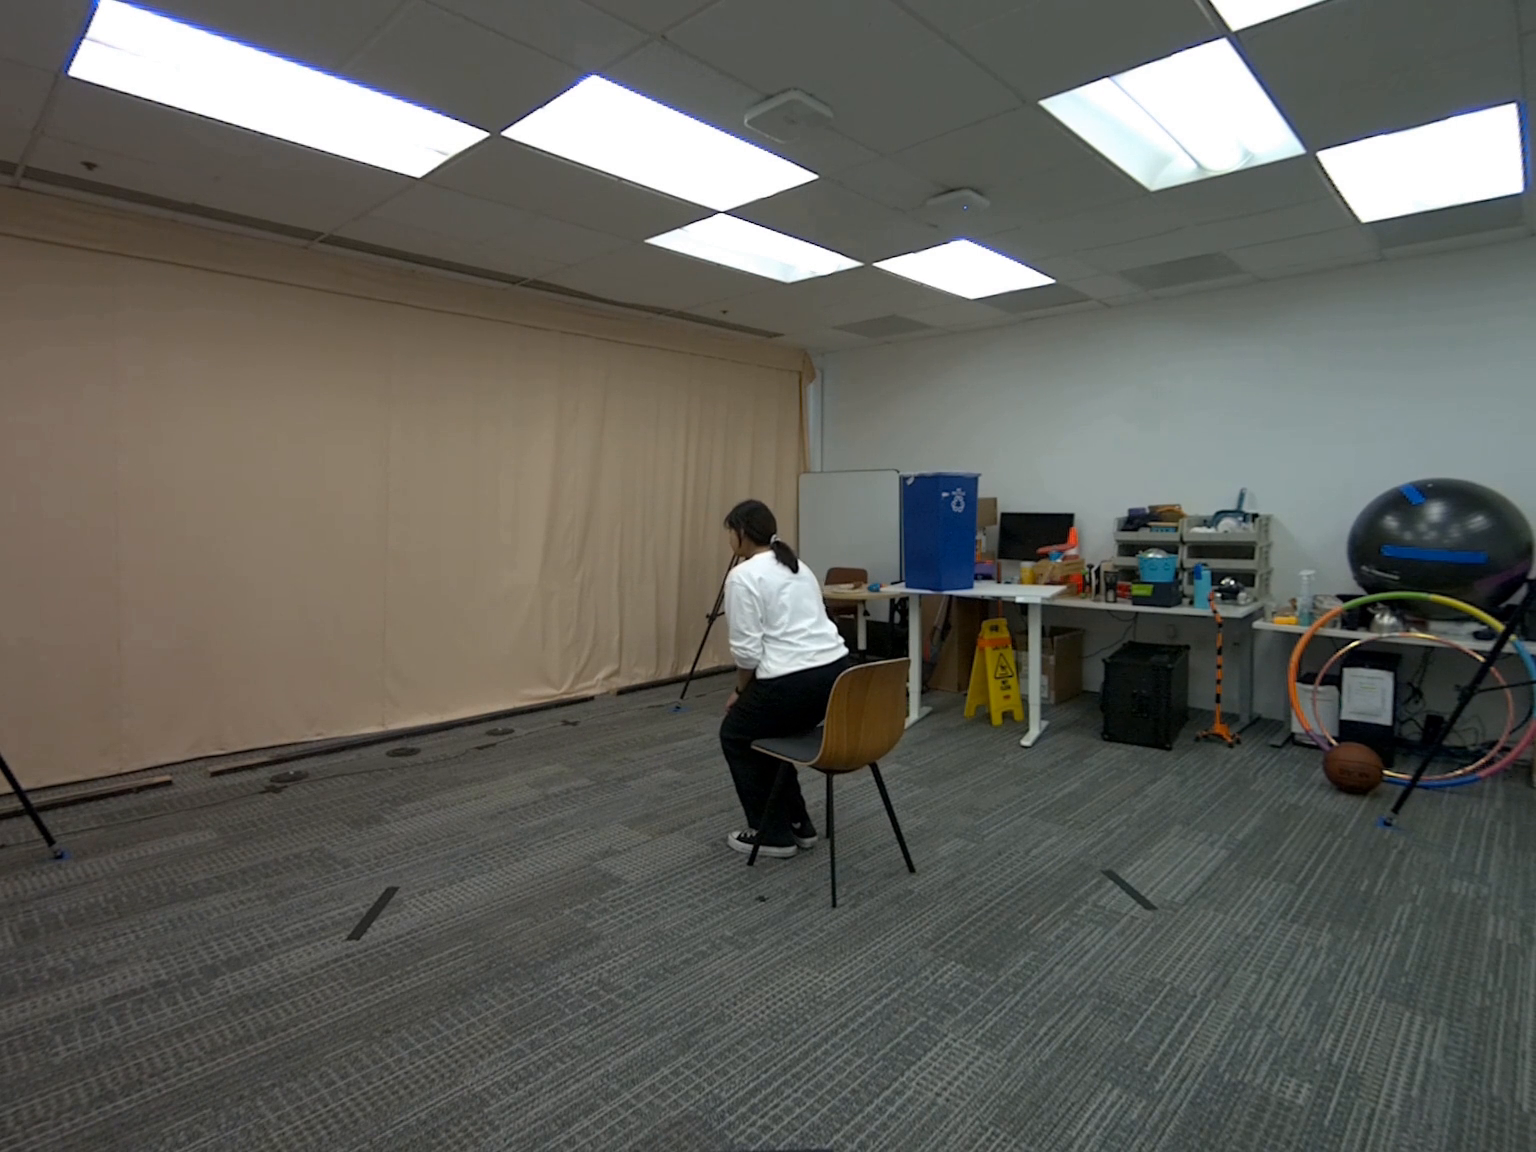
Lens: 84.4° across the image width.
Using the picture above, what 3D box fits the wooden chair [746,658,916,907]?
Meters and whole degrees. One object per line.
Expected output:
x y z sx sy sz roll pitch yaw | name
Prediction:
0.245 0.696 3.199 0.463 0.874 0.541 -3 9 -42 | wooden chair
